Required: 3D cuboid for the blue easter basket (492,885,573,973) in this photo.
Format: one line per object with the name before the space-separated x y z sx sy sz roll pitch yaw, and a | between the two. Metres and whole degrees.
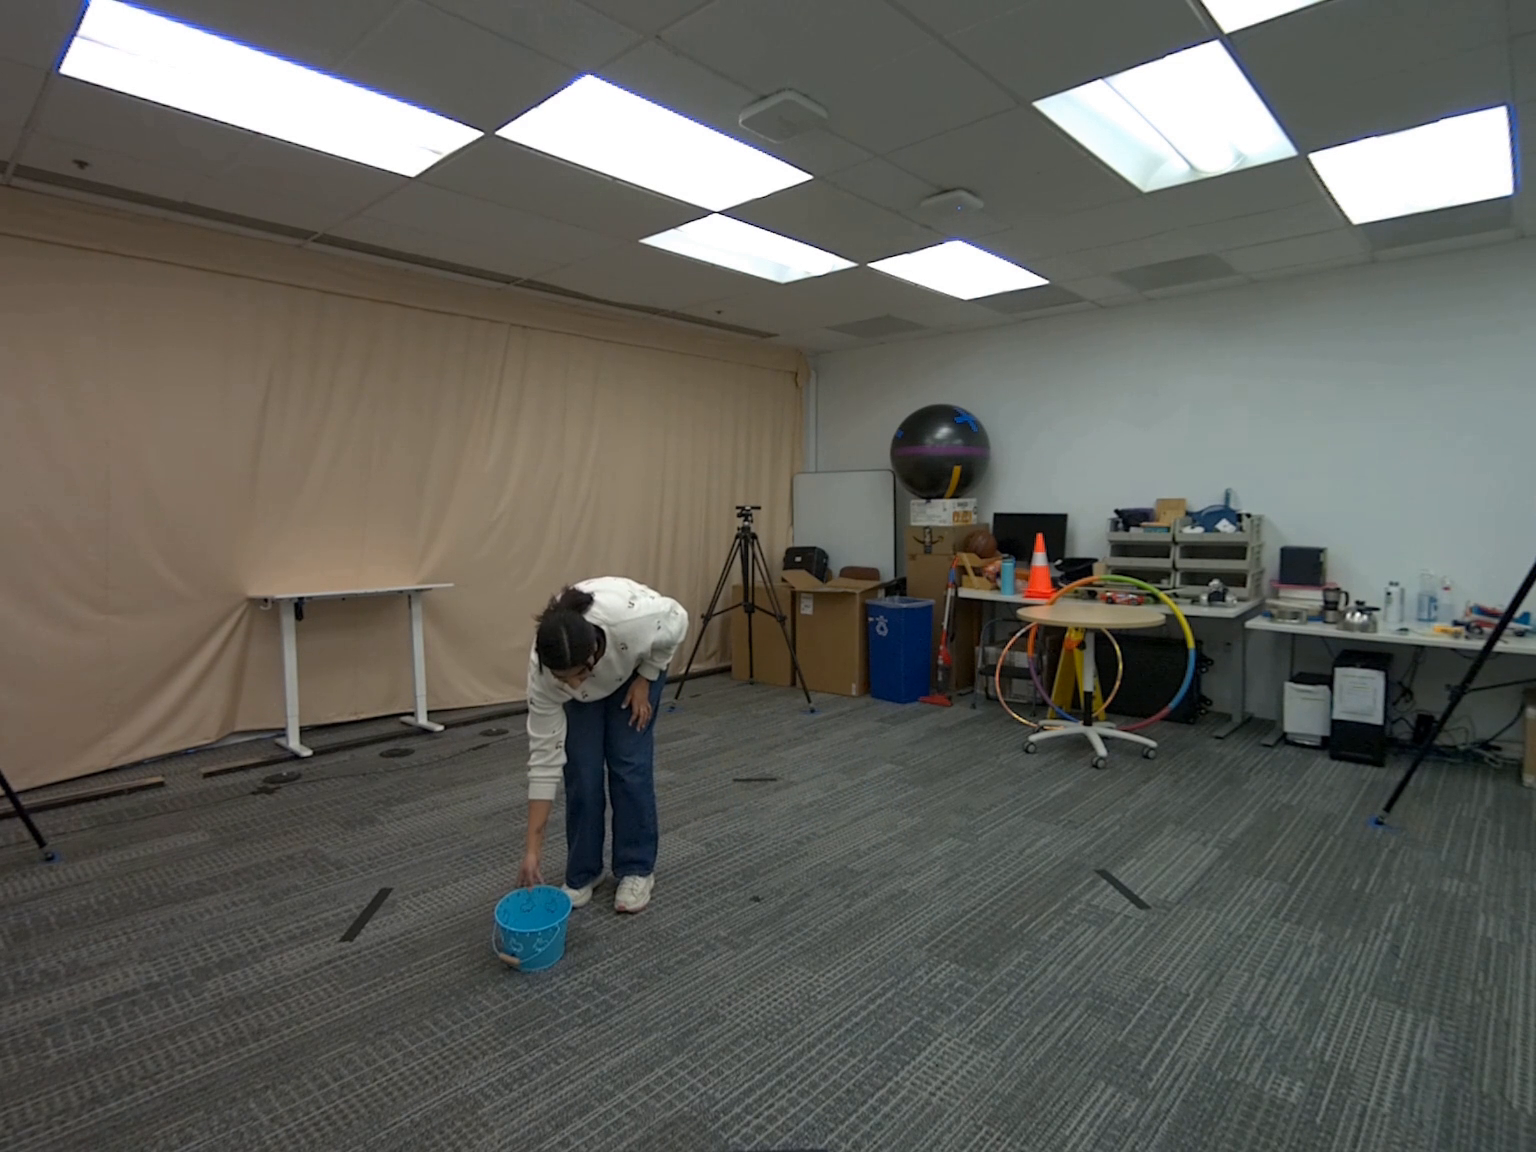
blue easter basket | -0.730 1.085 2.596 0.243 0.155 0.245 1 11 -2
